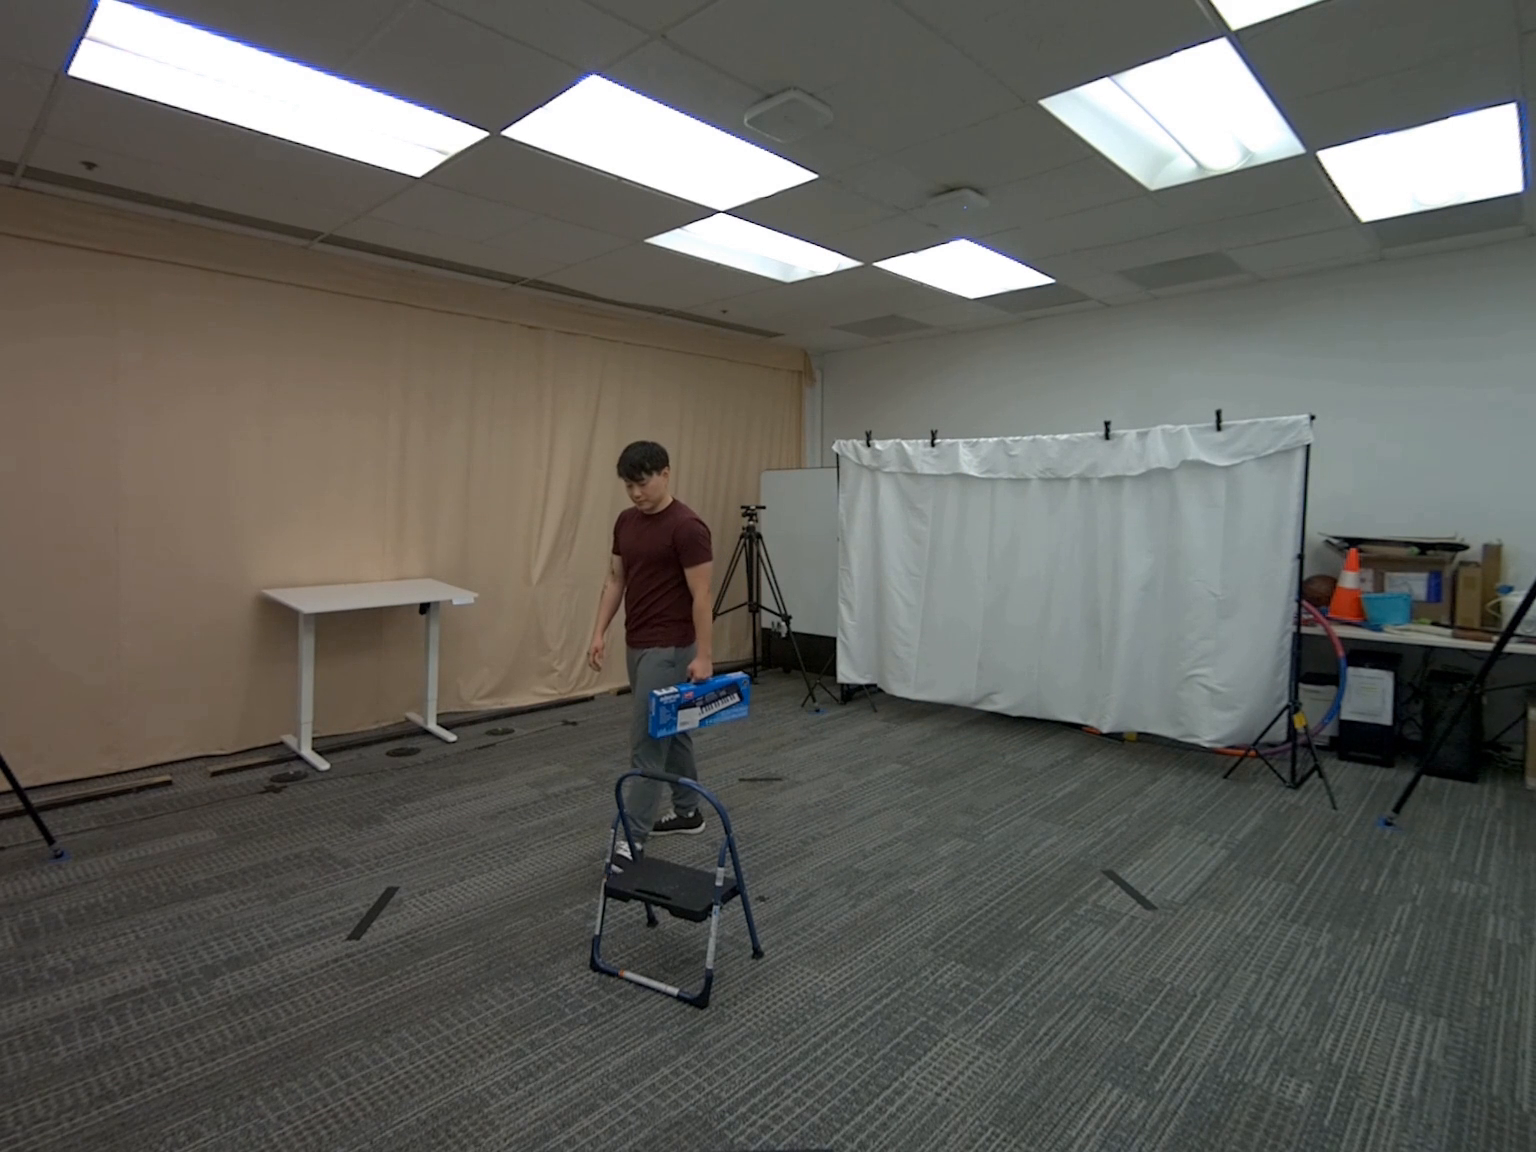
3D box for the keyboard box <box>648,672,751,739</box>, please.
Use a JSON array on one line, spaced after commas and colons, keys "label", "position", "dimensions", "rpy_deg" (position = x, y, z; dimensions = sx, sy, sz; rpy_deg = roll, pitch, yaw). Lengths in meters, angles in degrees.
[{"label": "keyboard box", "position": [-0.265, 0.502, 3.276], "dimensions": [0.425, 0.175, 0.061], "rpy_deg": [-7, 15, -36]}]
